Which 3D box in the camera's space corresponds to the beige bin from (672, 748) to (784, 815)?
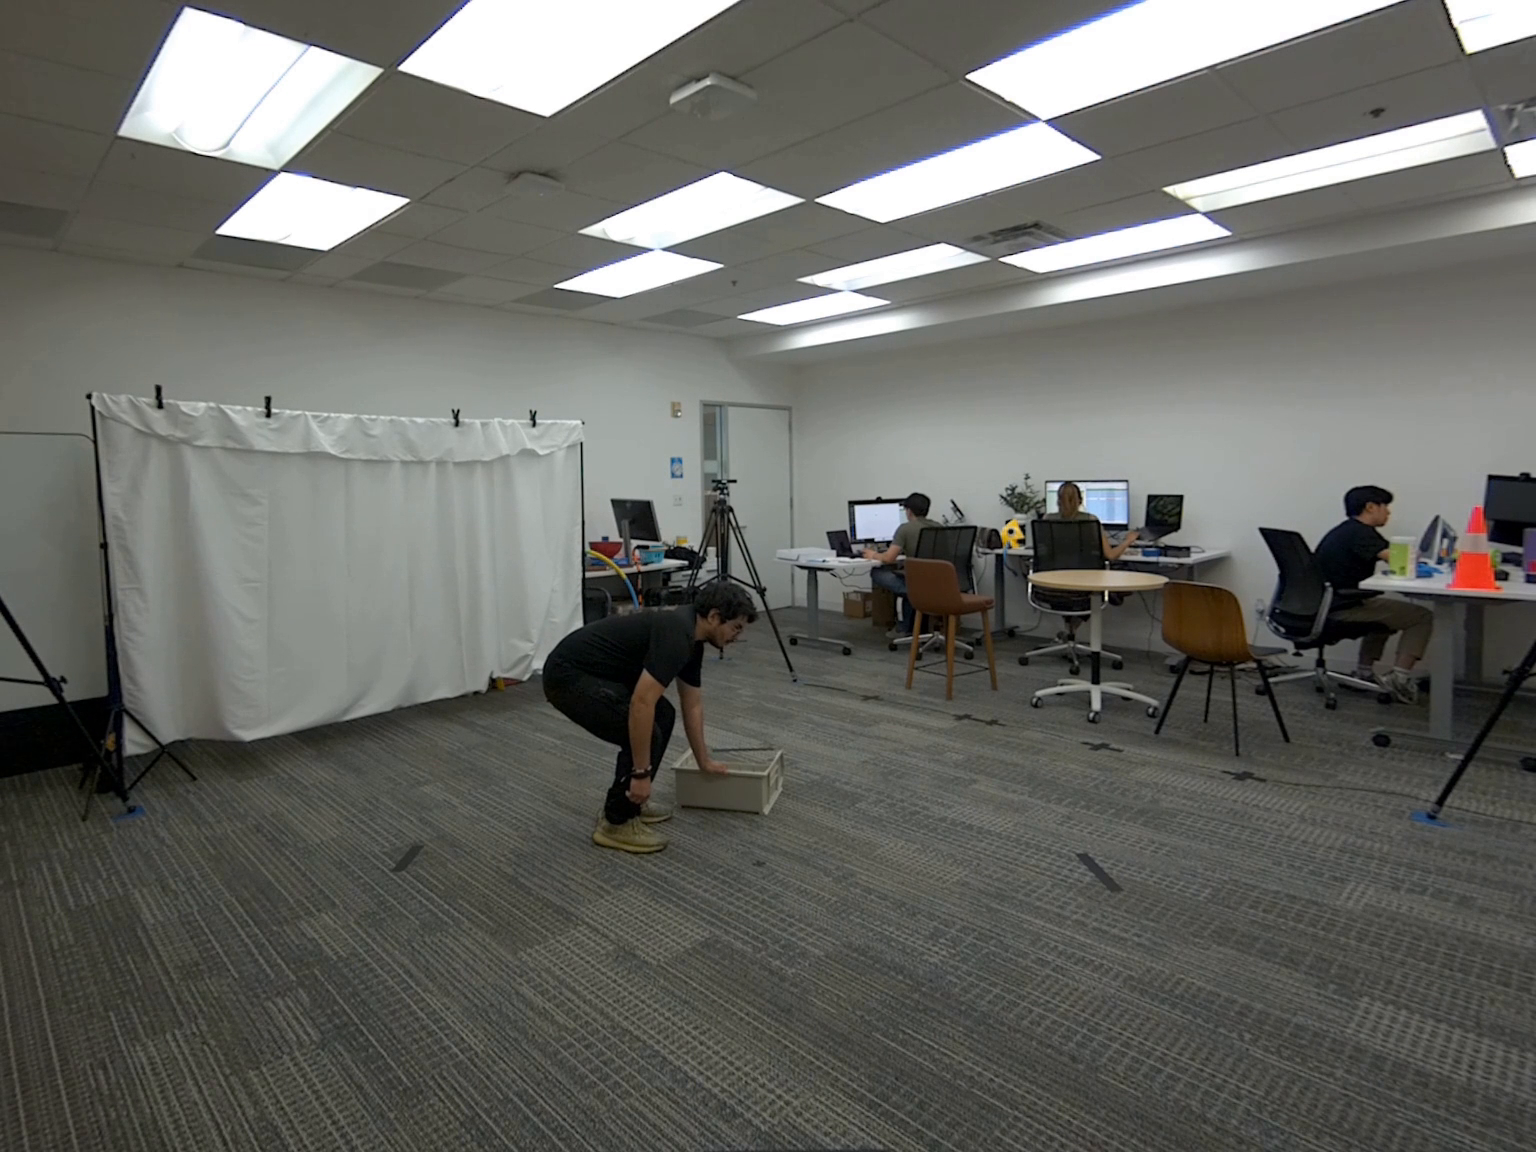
[{"bbox_3d":[-0.169,0.887,3.781,0.429,0.188,0.374,1,8,15],"label":"beige bin"}]
